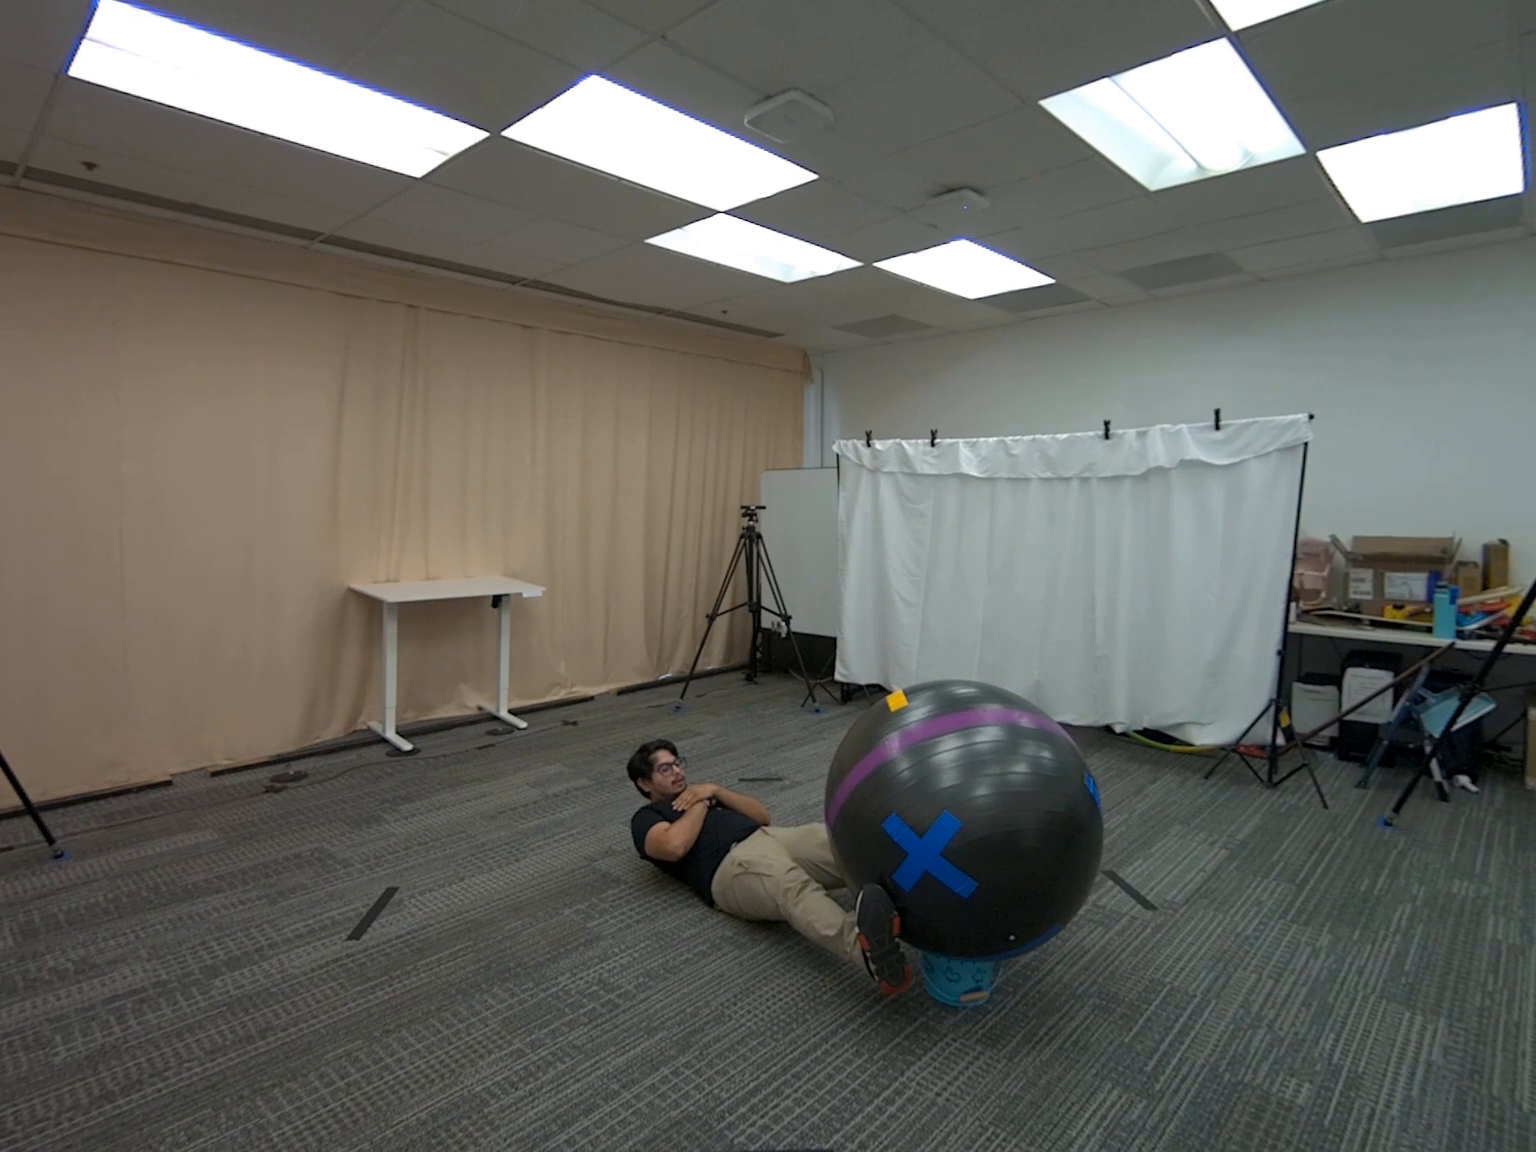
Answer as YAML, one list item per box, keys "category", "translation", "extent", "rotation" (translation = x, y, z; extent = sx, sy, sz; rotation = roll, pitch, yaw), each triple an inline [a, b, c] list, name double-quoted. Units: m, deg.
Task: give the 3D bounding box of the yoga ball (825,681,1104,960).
- category: "yoga ball"
  translation: [0.551, 0.683, 2.397]
  extent: [0.757, 0.756, 0.760]
  rotation: [0, 4, -2]
